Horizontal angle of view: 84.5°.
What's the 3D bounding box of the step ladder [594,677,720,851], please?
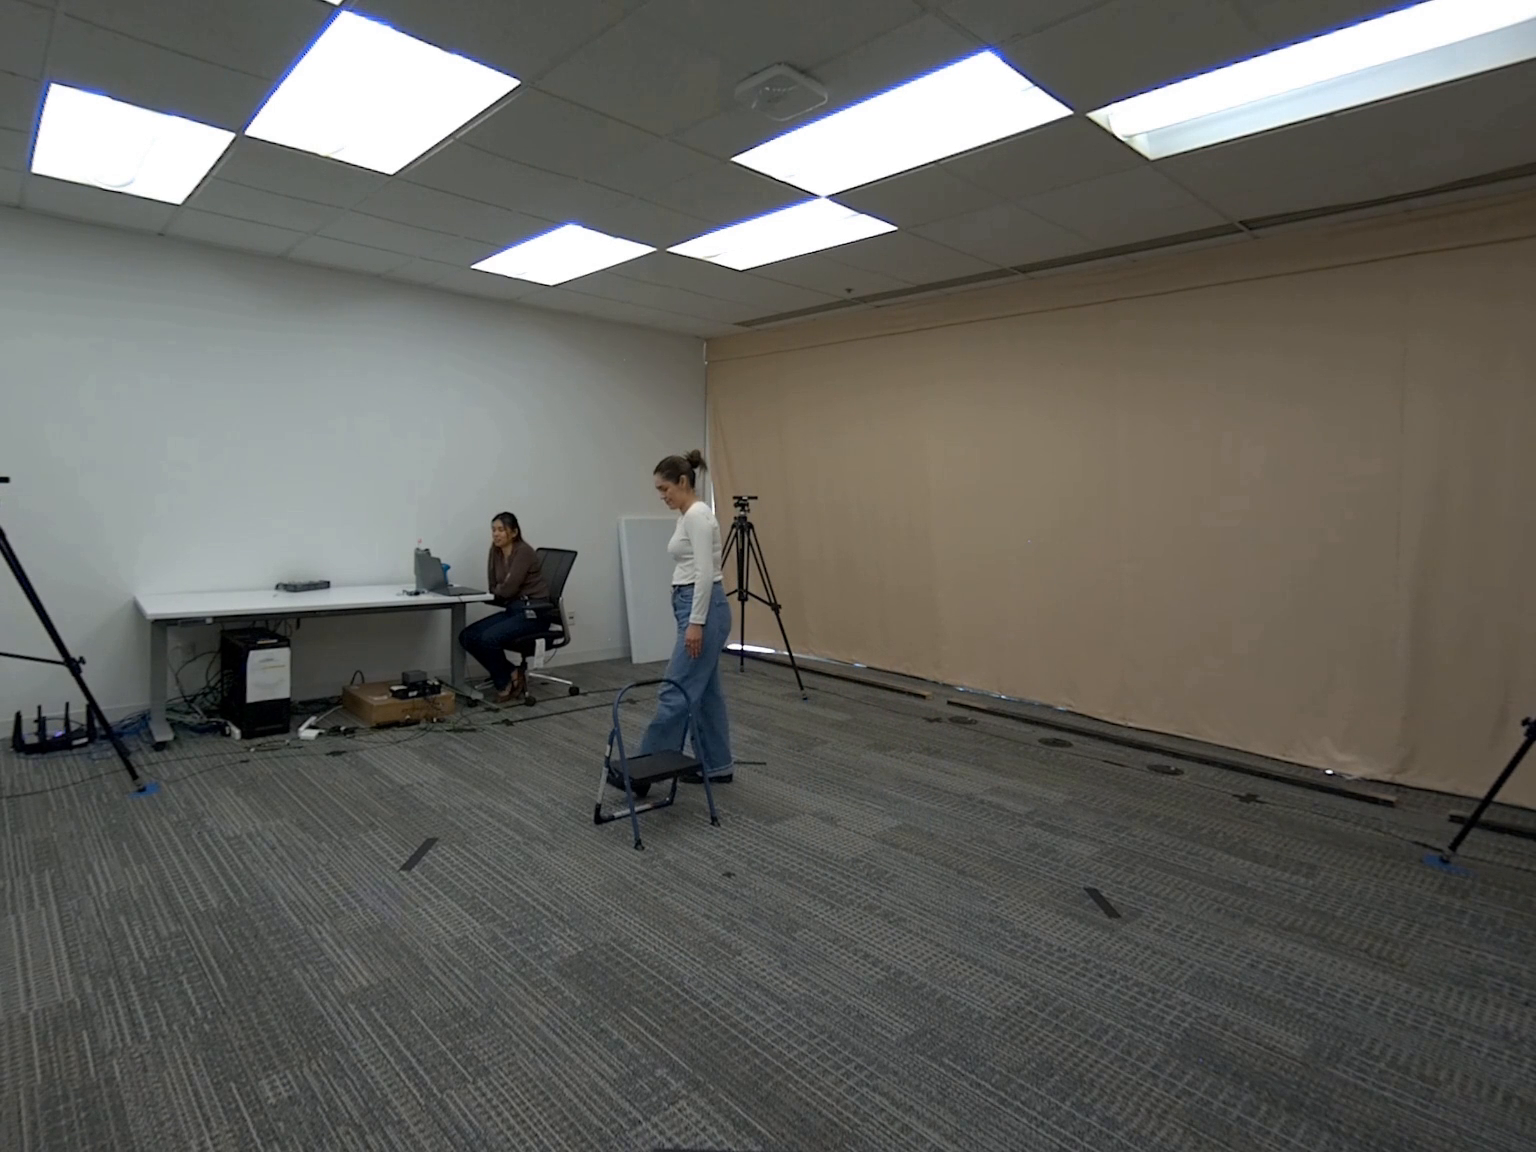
[{"bbox_3d":[-0.477,0.756,3.553,0.420,0.605,0.358,-1,4,-43],"label":"step ladder"}]
